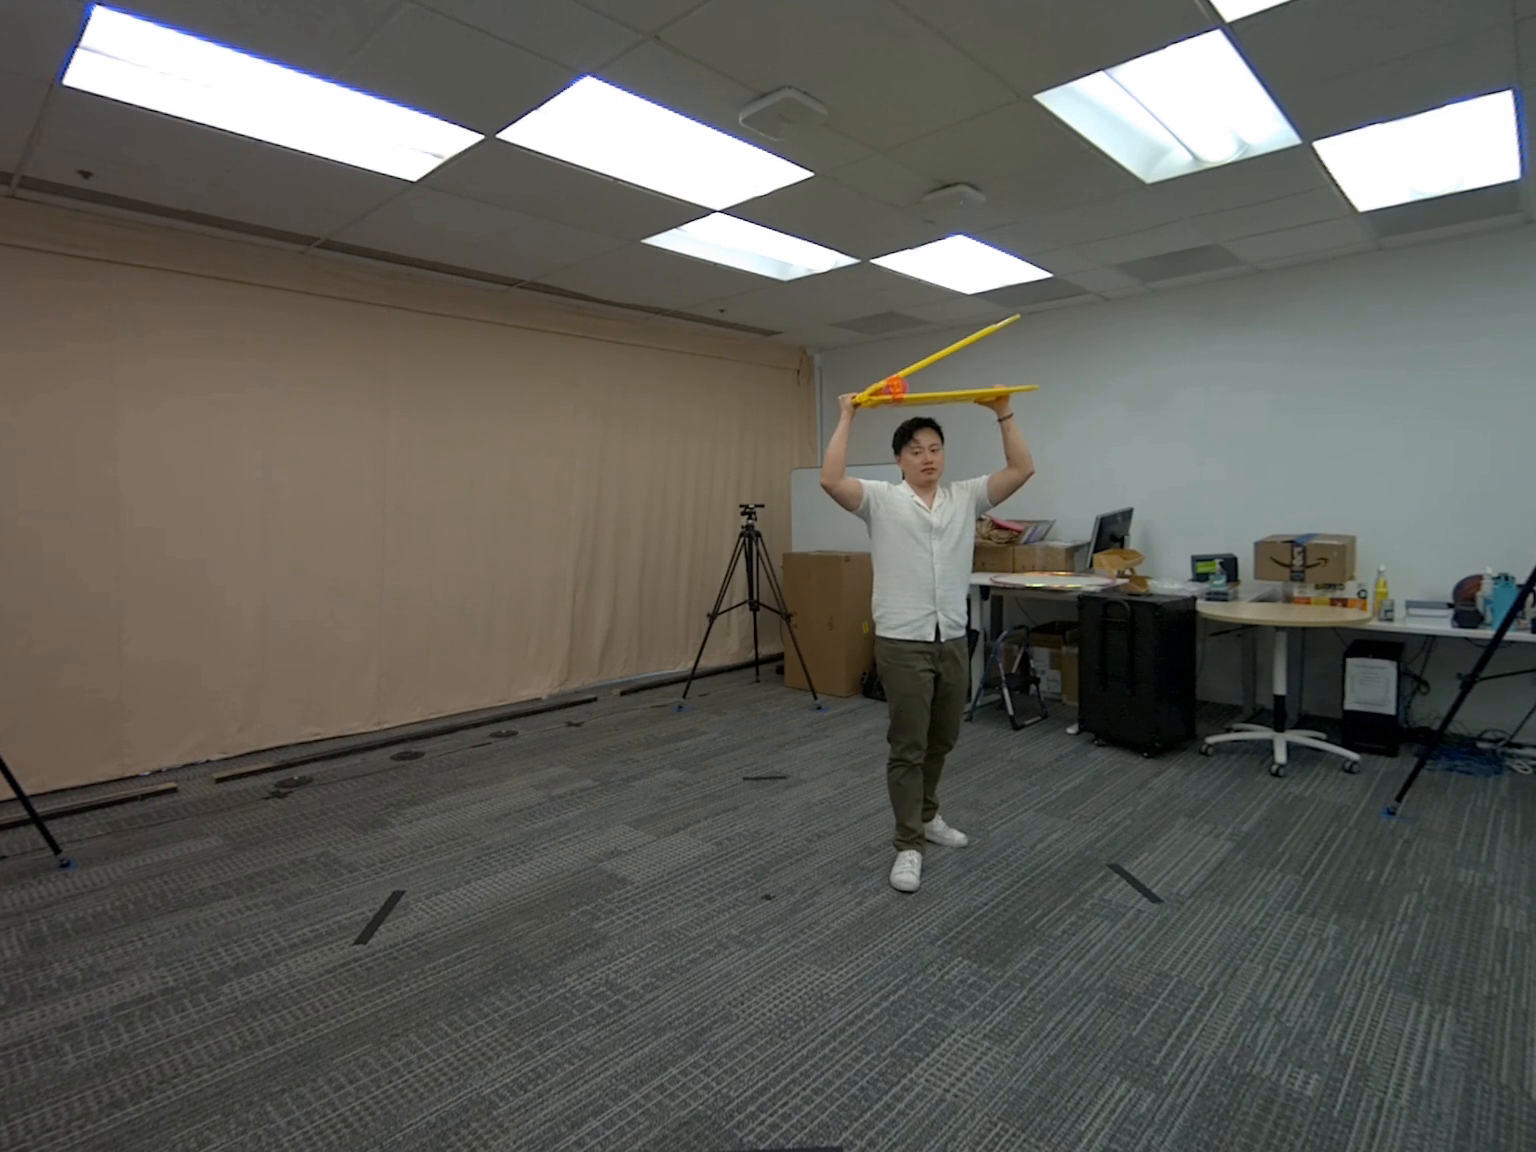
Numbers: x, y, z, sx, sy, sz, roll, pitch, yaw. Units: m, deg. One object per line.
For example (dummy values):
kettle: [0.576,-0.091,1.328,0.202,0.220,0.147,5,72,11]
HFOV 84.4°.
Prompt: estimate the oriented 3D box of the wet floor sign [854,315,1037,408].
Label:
wet floor sign: [0.605,-0.715,3.087,0.644,0.288,0.284,-16,6,-4]
